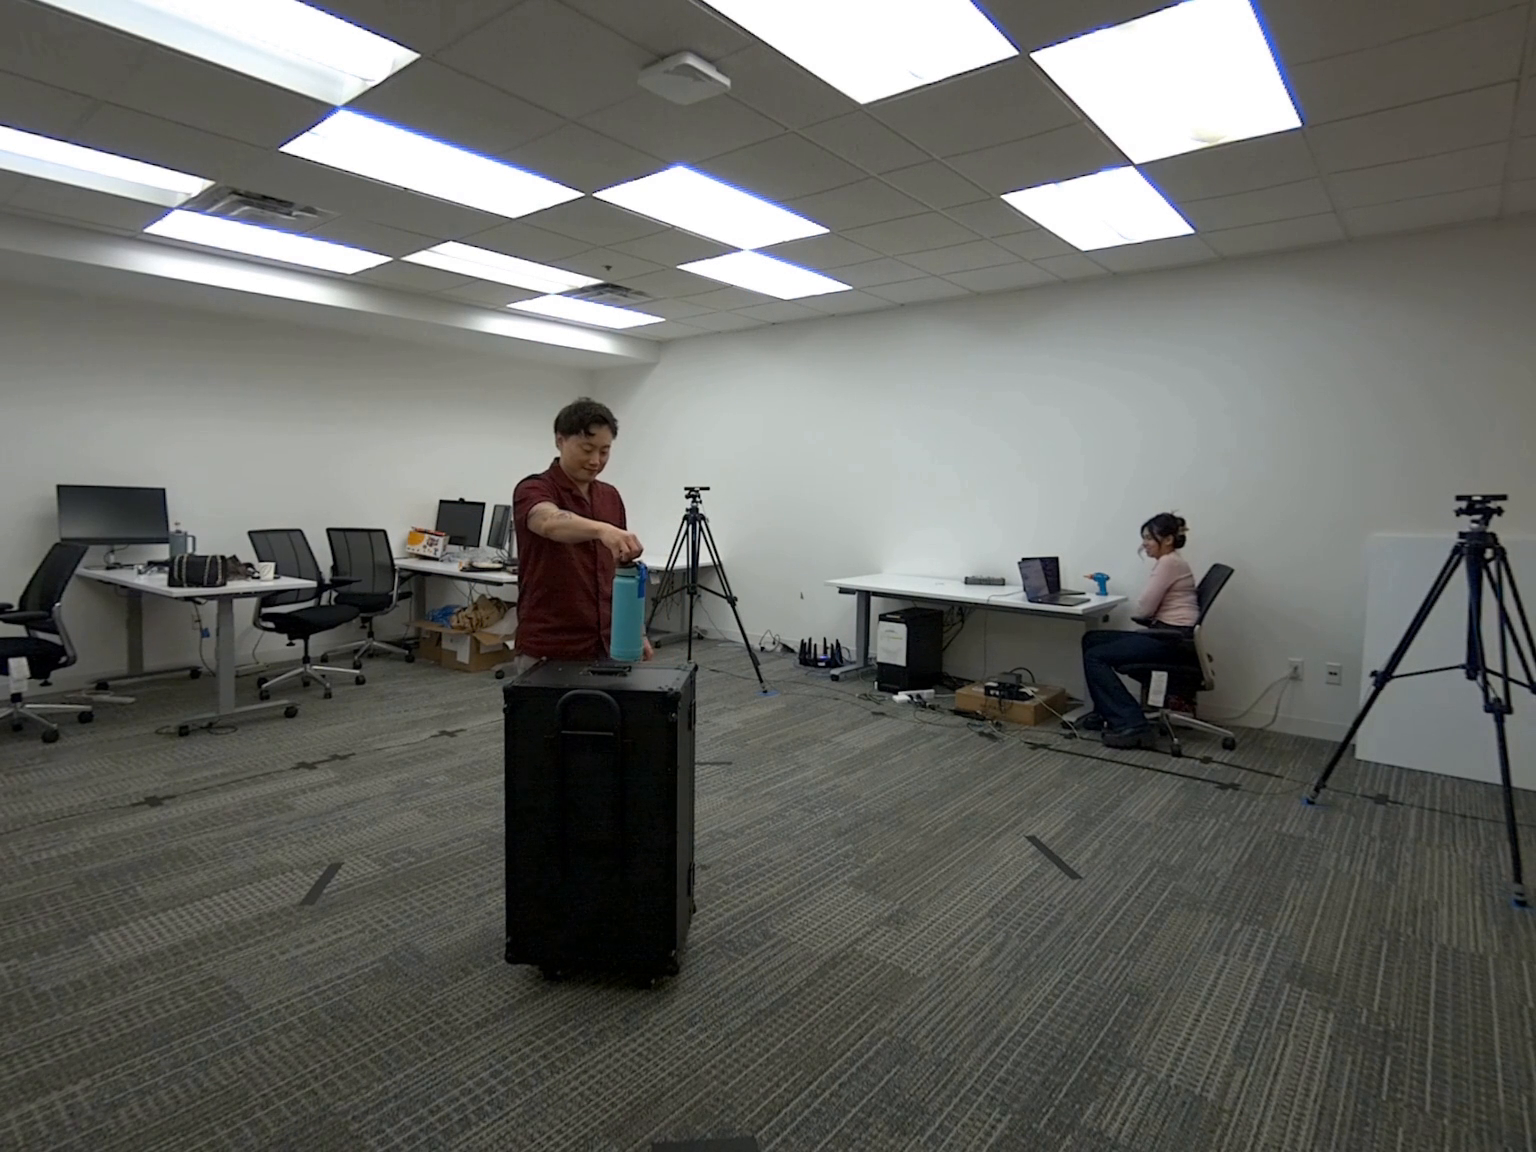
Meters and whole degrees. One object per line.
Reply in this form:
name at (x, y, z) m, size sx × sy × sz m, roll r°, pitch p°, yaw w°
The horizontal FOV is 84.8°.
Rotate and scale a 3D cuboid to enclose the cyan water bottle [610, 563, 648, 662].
cyan water bottle at (-0.397, 0.087, 2.349) m, size 0.092 × 0.282 × 0.093 m, roll 5°, pitch 4°, yaw -2°
